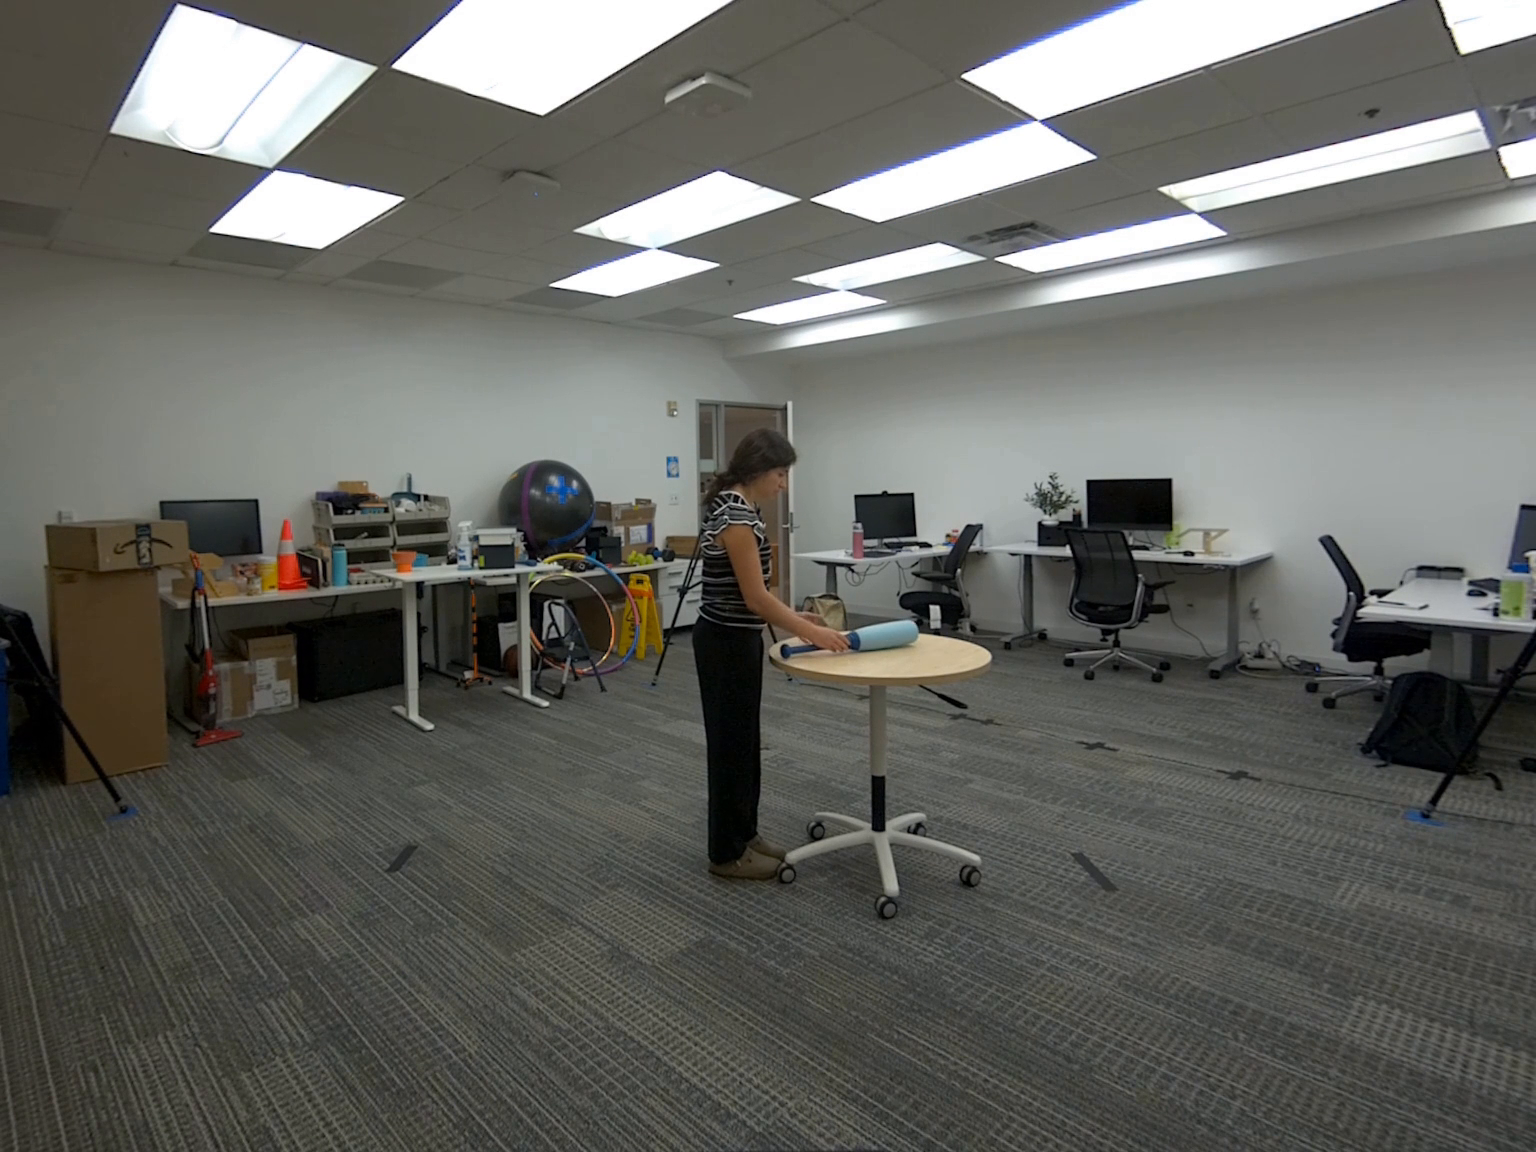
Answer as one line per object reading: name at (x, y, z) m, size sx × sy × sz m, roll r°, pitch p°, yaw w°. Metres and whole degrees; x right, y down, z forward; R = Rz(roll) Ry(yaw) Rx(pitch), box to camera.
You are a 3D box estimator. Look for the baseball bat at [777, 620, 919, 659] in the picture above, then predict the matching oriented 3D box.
baseball bat at (0.281, 0.228, 2.995) m, size 0.533 × 0.088 × 0.091 m, roll -6°, pitch 6°, yaw -22°
